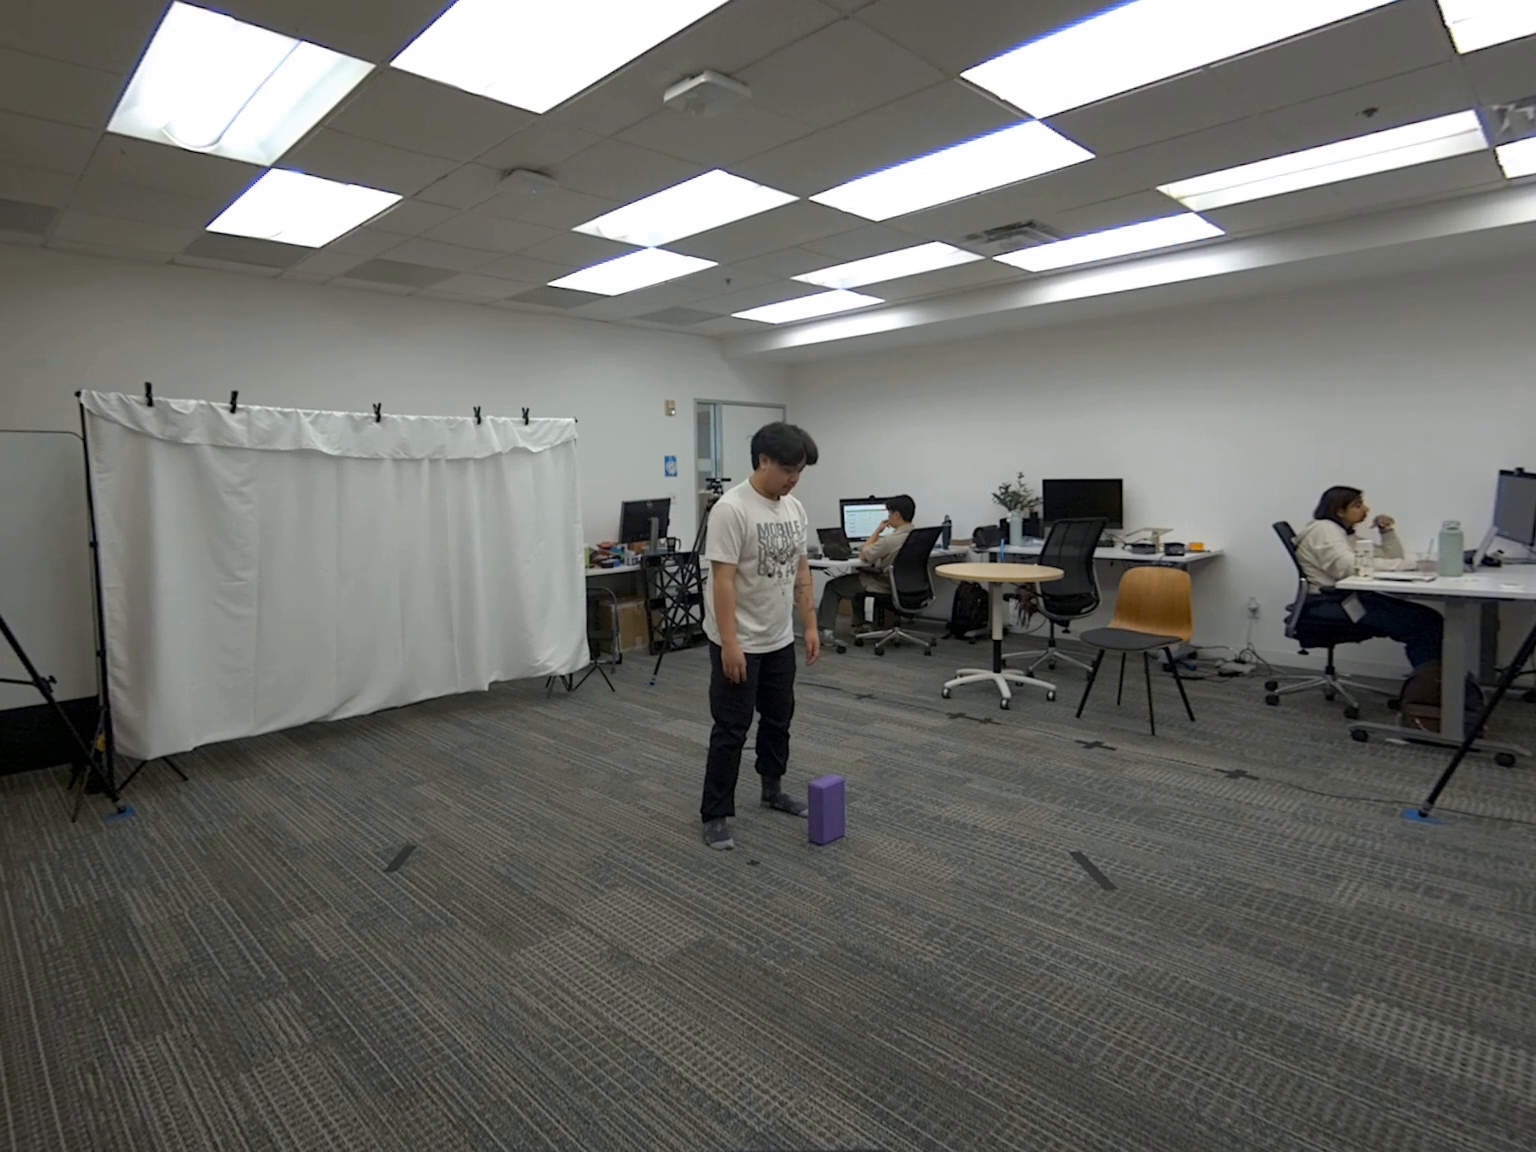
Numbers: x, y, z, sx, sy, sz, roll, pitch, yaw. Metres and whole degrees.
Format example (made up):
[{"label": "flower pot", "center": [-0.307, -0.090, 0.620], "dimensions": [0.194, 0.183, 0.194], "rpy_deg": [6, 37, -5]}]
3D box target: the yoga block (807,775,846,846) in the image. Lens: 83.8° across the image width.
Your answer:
[{"label": "yoga block", "center": [0.228, 0.903, 3.297], "dimensions": [0.145, 0.229, 0.079], "rpy_deg": [-3, 4, -42]}]
